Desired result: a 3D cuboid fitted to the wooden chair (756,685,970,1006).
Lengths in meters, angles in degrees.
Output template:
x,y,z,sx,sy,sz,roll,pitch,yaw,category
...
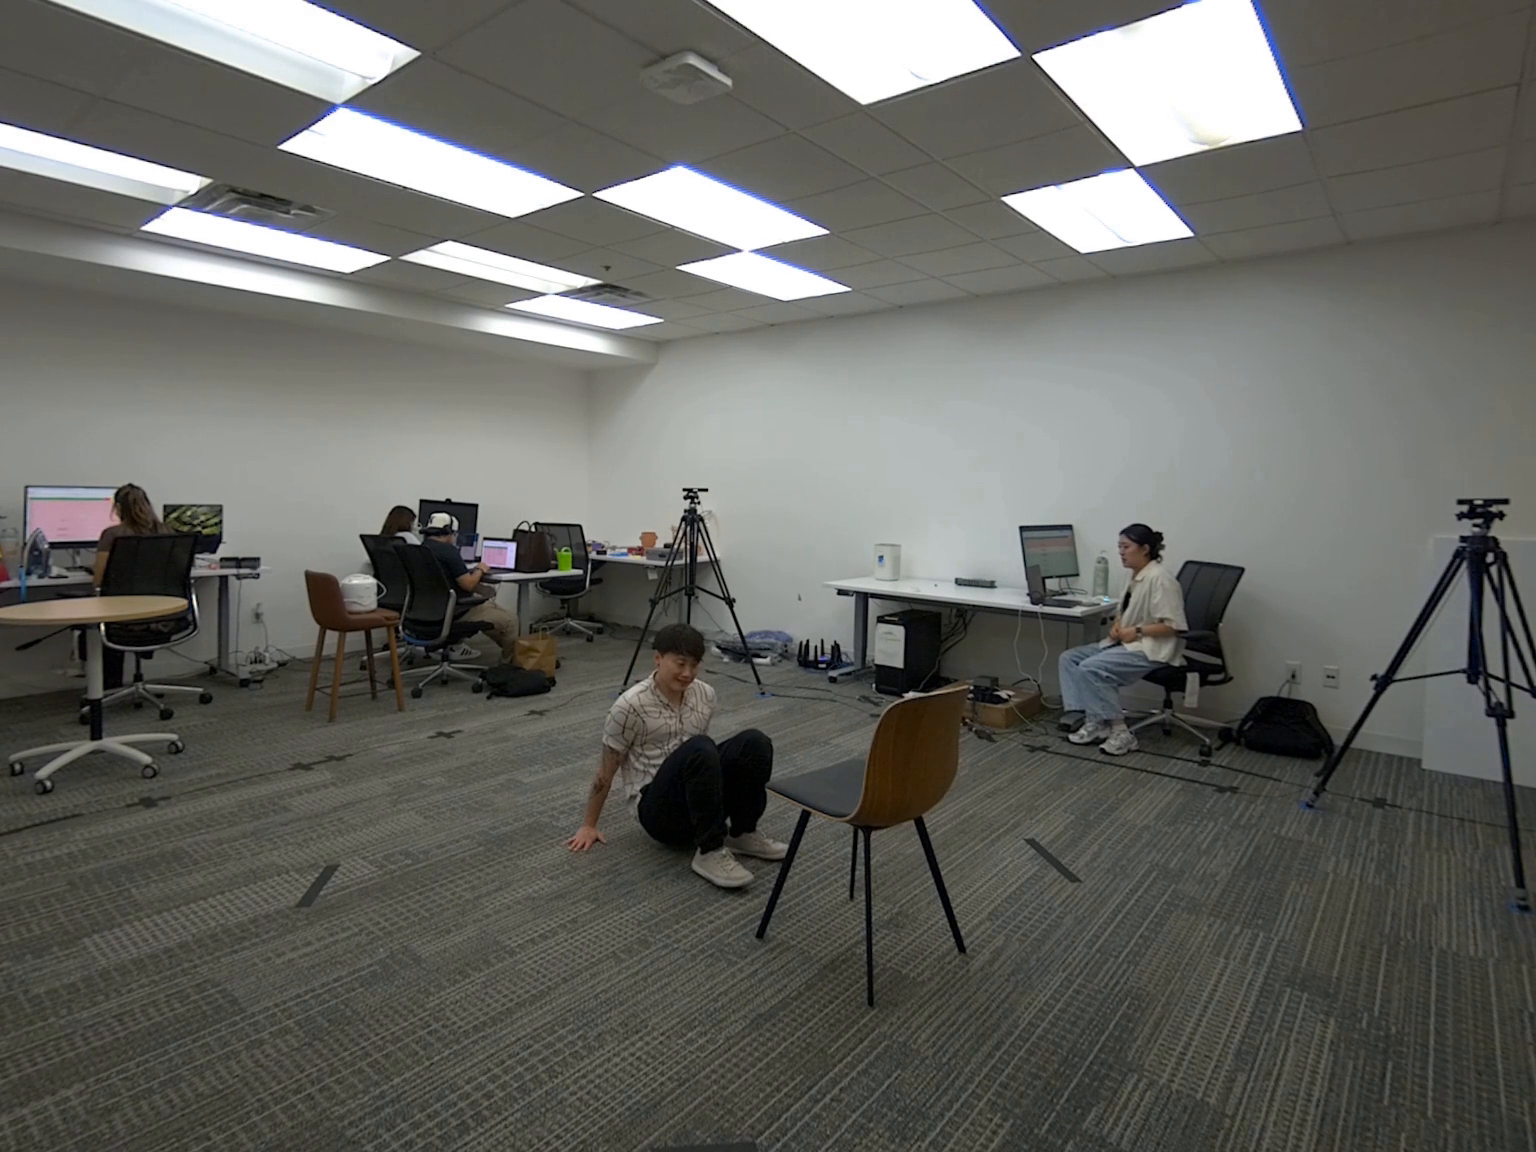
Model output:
x,y,z,sx,sy,sz,roll,pitch,yaw,category
0.283,0.704,2.586,0.463,0.872,0.542,-2,9,-42,wooden chair
